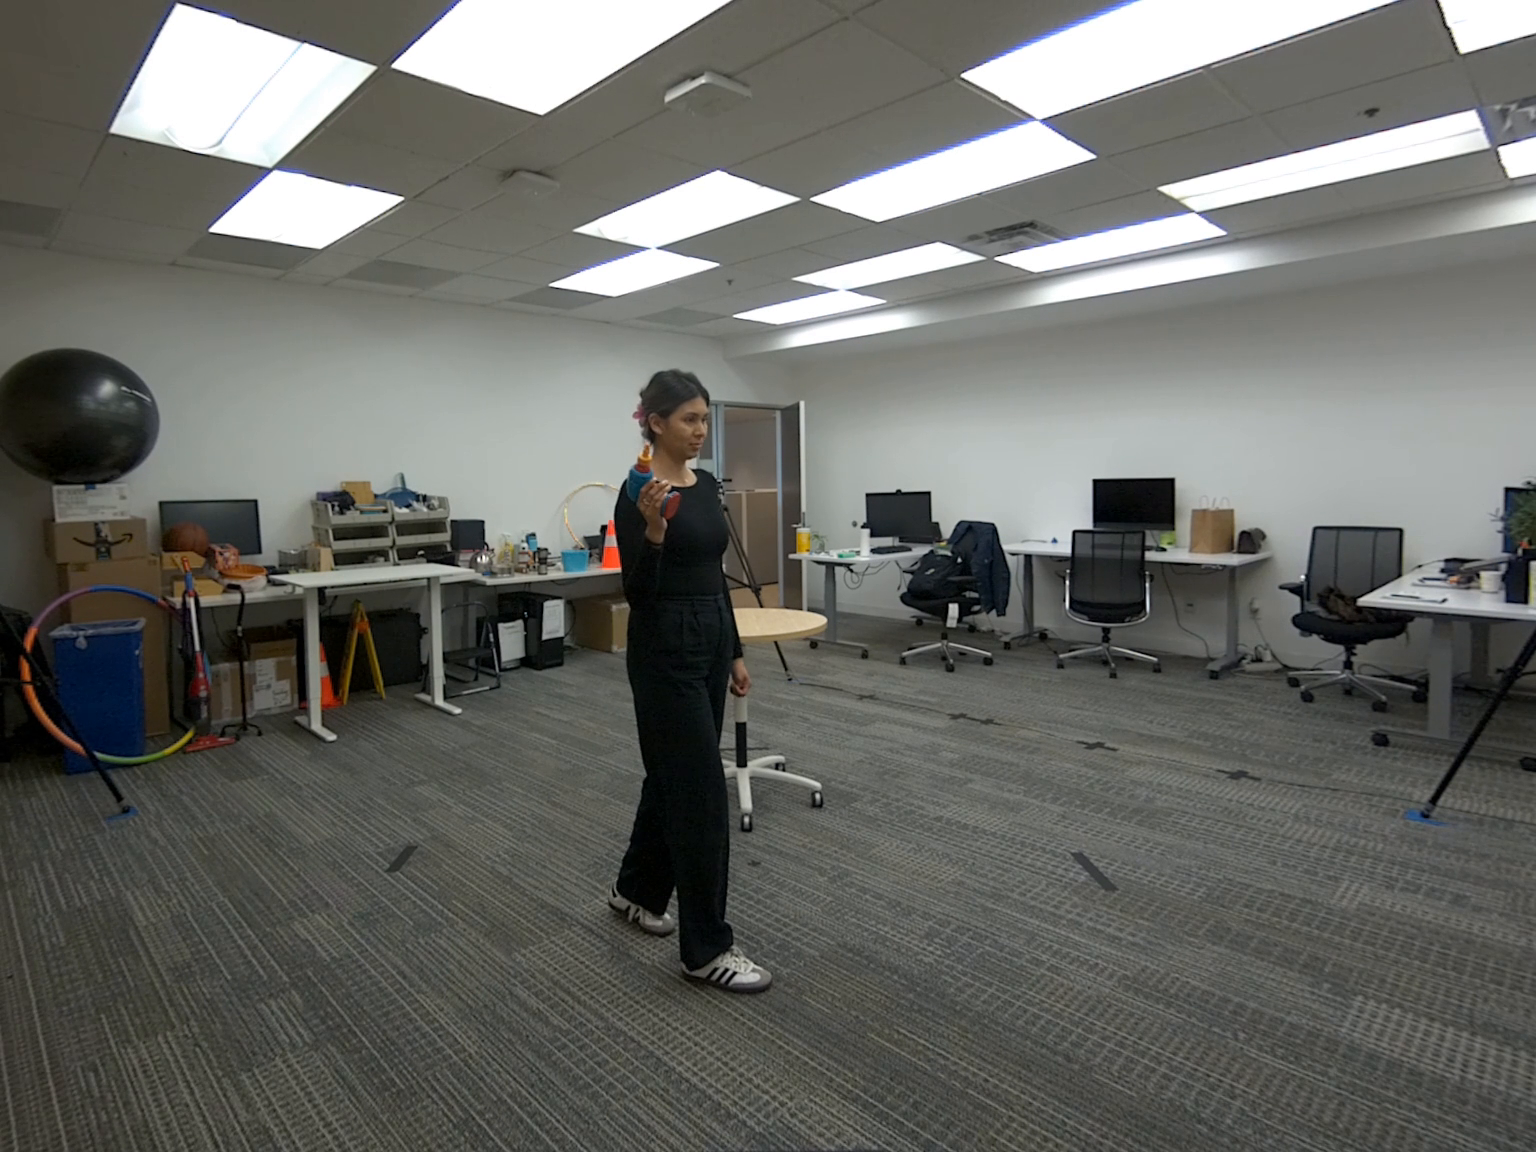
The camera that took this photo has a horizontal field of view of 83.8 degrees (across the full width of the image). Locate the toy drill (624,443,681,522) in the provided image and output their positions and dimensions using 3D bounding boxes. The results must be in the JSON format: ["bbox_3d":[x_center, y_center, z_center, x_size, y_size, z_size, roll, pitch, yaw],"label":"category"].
[{"bbox_3d":[-0.284,-0.238,2.104,0.150,0.167,0.060,32,35,20],"label":"toy drill"}]
